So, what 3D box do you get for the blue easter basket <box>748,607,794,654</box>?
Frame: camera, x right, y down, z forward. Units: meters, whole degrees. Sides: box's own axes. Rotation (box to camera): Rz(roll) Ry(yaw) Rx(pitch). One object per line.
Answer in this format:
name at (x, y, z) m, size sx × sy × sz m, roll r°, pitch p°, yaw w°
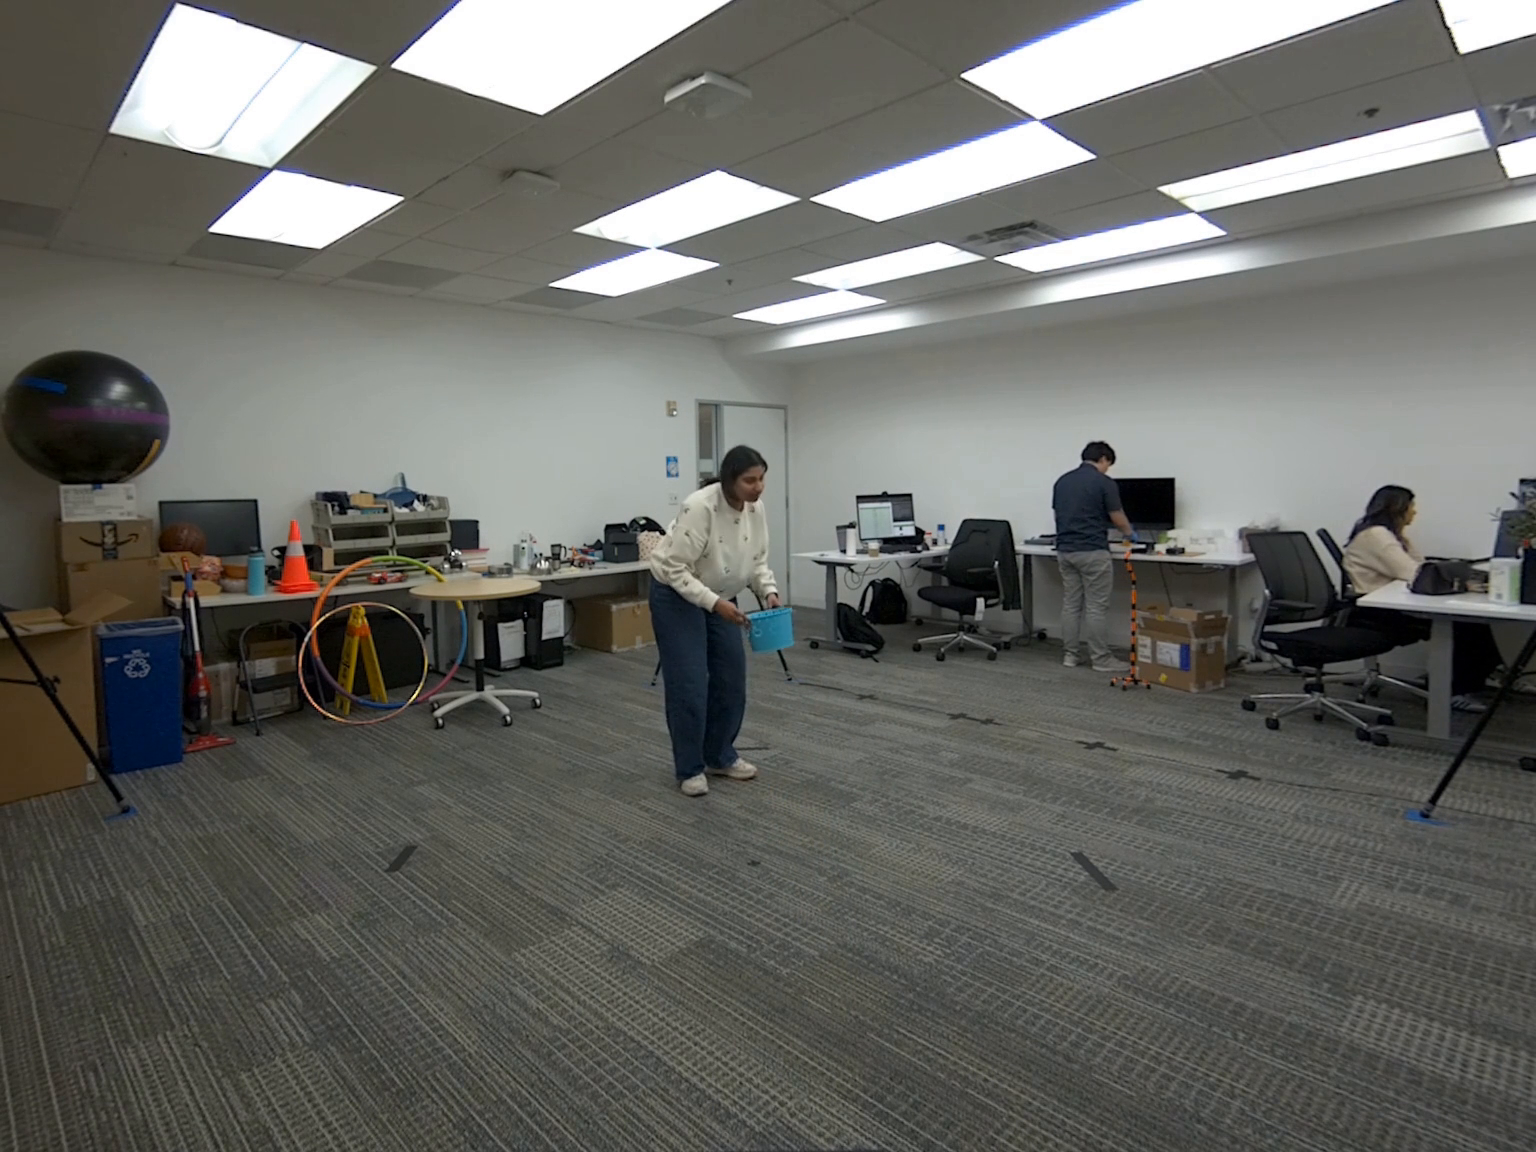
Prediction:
blue easter basket at (0.010, 0.236, 3.696) m, size 0.243 × 0.156 × 0.244 m, roll -9°, pitch 3°, yaw -1°
